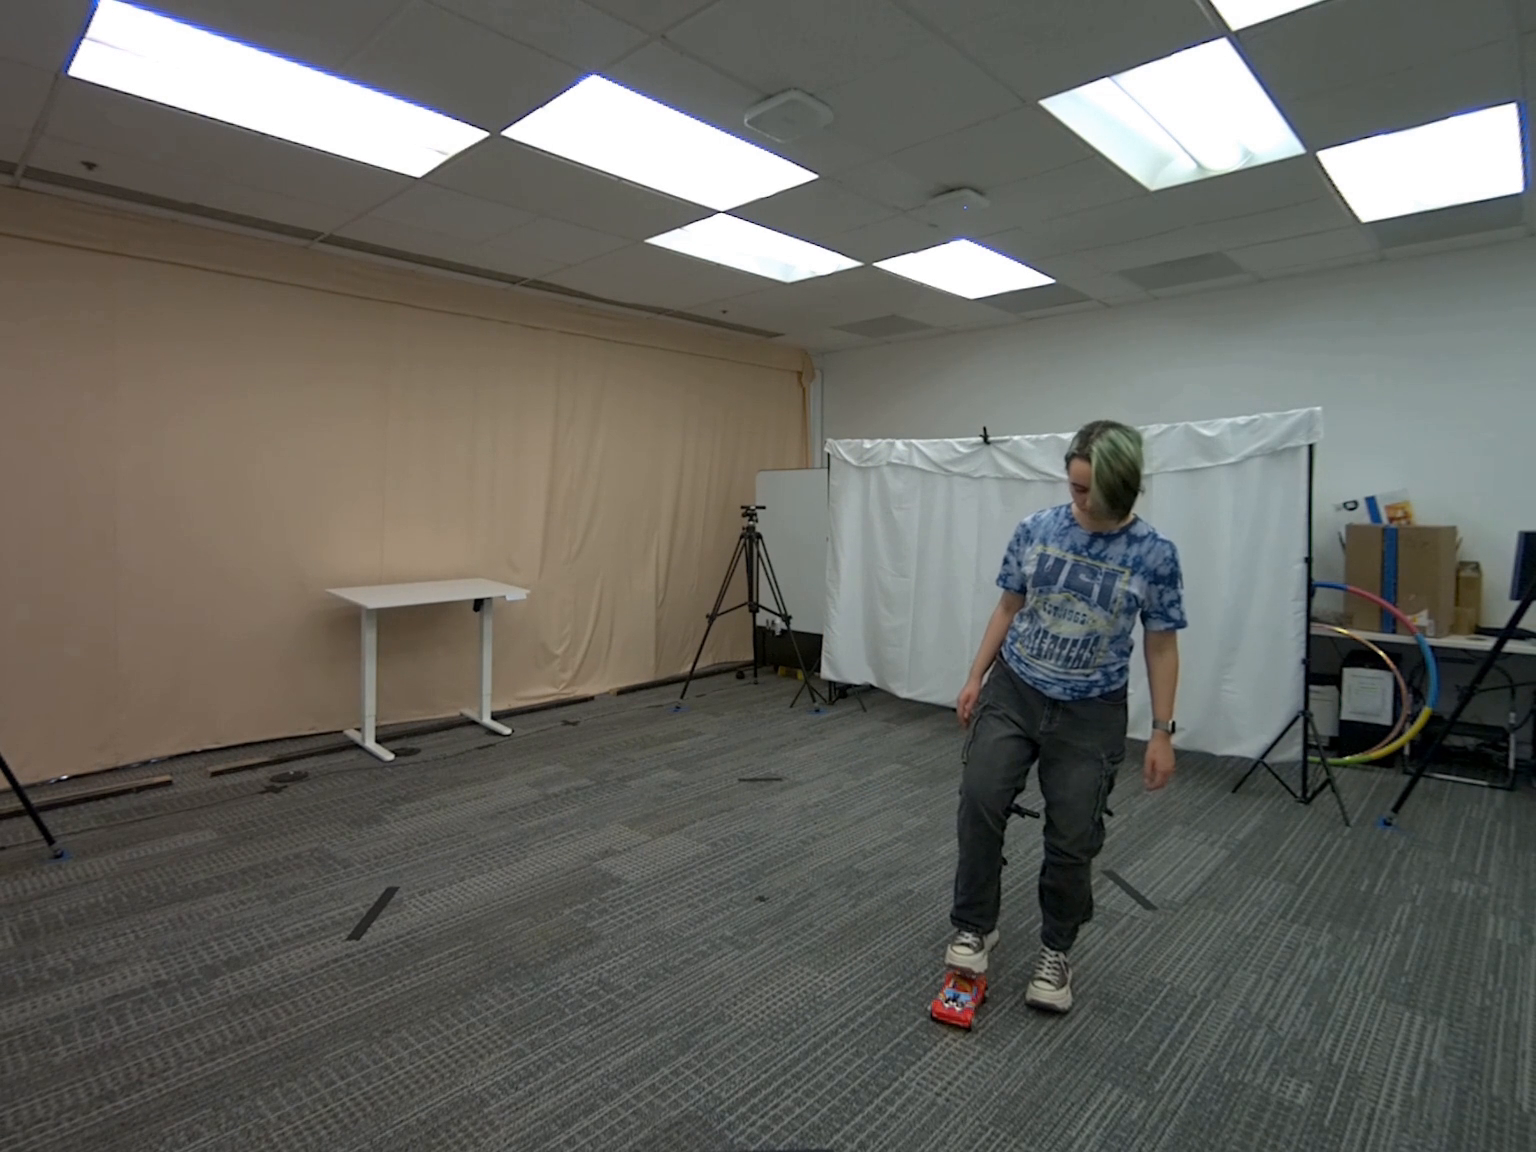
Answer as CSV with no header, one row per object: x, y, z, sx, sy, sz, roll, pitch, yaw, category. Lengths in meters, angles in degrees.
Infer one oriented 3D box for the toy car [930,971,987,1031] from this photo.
0.550,1.169,2.338,0.134,0.082,0.250,1,16,30,toy car
